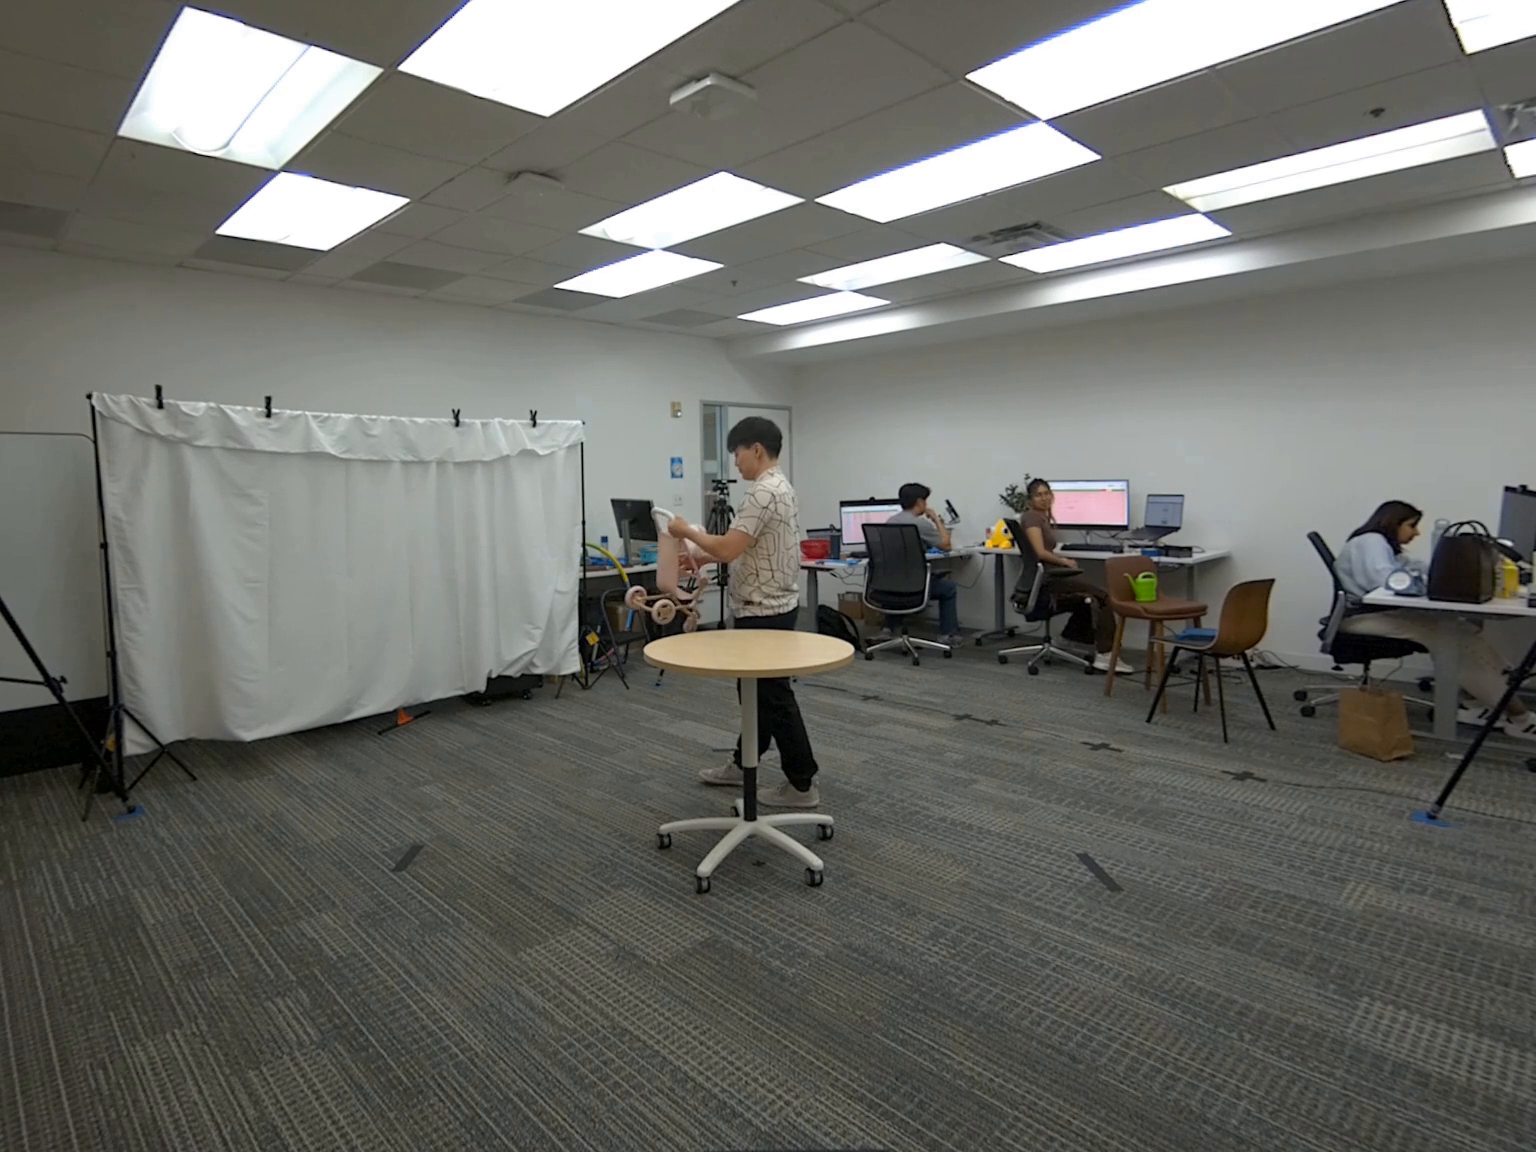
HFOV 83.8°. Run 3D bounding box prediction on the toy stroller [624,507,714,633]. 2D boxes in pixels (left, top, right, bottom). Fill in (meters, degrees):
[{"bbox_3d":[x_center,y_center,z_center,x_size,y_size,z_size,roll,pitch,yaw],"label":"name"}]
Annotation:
[{"bbox_3d":[-0.401,-0.012,3.826,0.331,0.534,0.291,10,4,-34],"label":"toy stroller"}]
